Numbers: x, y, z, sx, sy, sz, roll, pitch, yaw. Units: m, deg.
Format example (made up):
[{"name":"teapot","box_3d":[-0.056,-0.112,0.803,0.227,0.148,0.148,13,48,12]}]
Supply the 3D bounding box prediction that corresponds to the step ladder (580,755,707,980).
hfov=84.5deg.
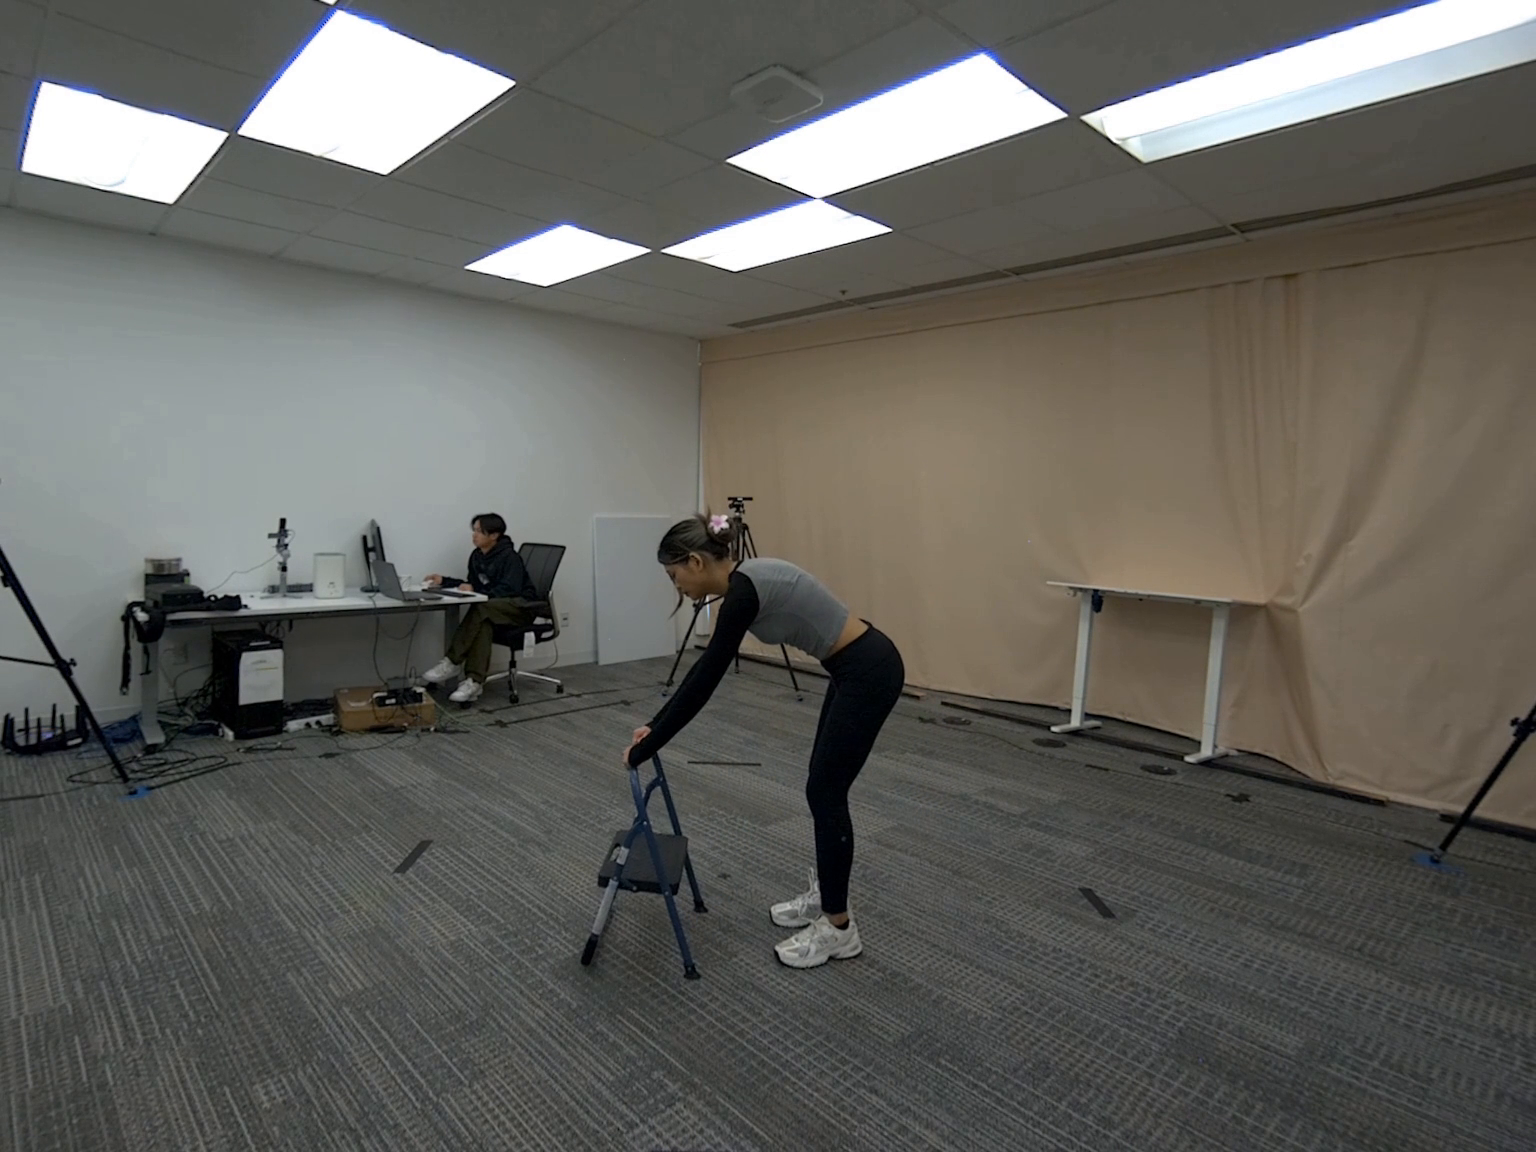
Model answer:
[{"name":"step ladder","box_3d":[-0.355,0.835,2.631,0.349,0.605,0.432,5,4,-1]}]
